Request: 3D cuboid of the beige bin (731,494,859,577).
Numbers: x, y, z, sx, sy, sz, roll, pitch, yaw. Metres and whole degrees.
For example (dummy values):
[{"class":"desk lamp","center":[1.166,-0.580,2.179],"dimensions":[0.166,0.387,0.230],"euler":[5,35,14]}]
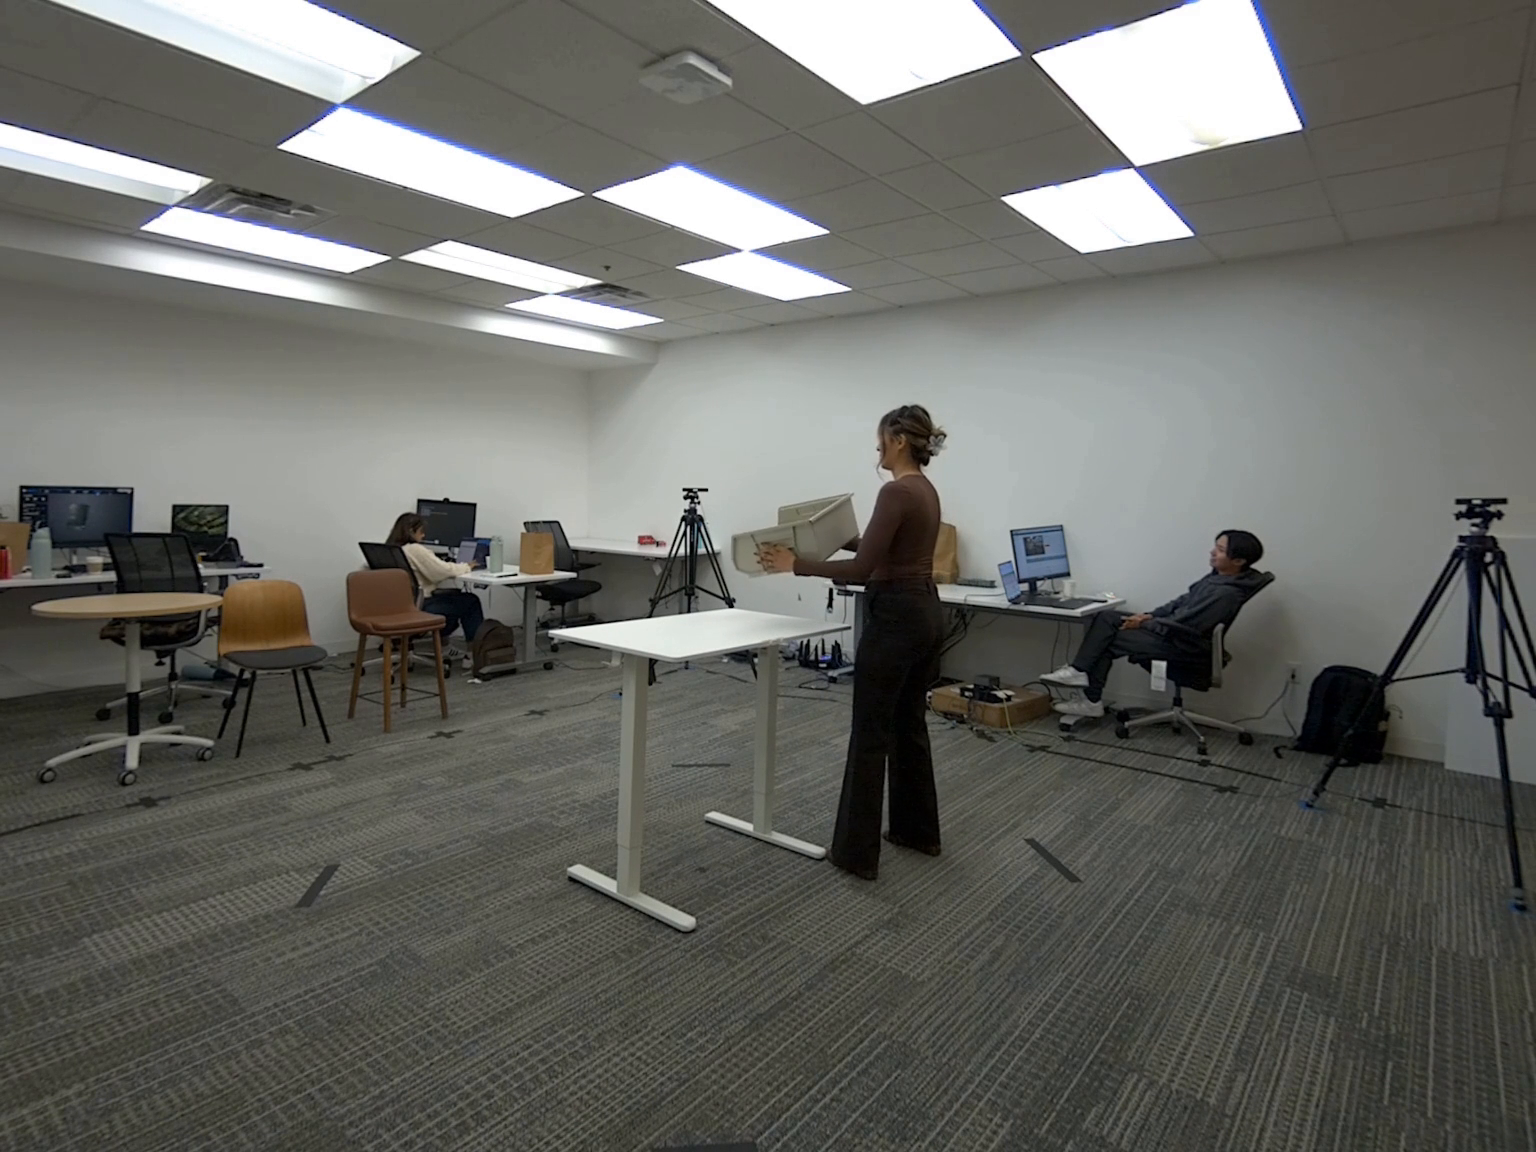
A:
[{"class":"beige bin","center":[0.100,-0.158,3.337],"dimensions":[0.386,0.186,0.418],"euler":[-8,14,31]}]
